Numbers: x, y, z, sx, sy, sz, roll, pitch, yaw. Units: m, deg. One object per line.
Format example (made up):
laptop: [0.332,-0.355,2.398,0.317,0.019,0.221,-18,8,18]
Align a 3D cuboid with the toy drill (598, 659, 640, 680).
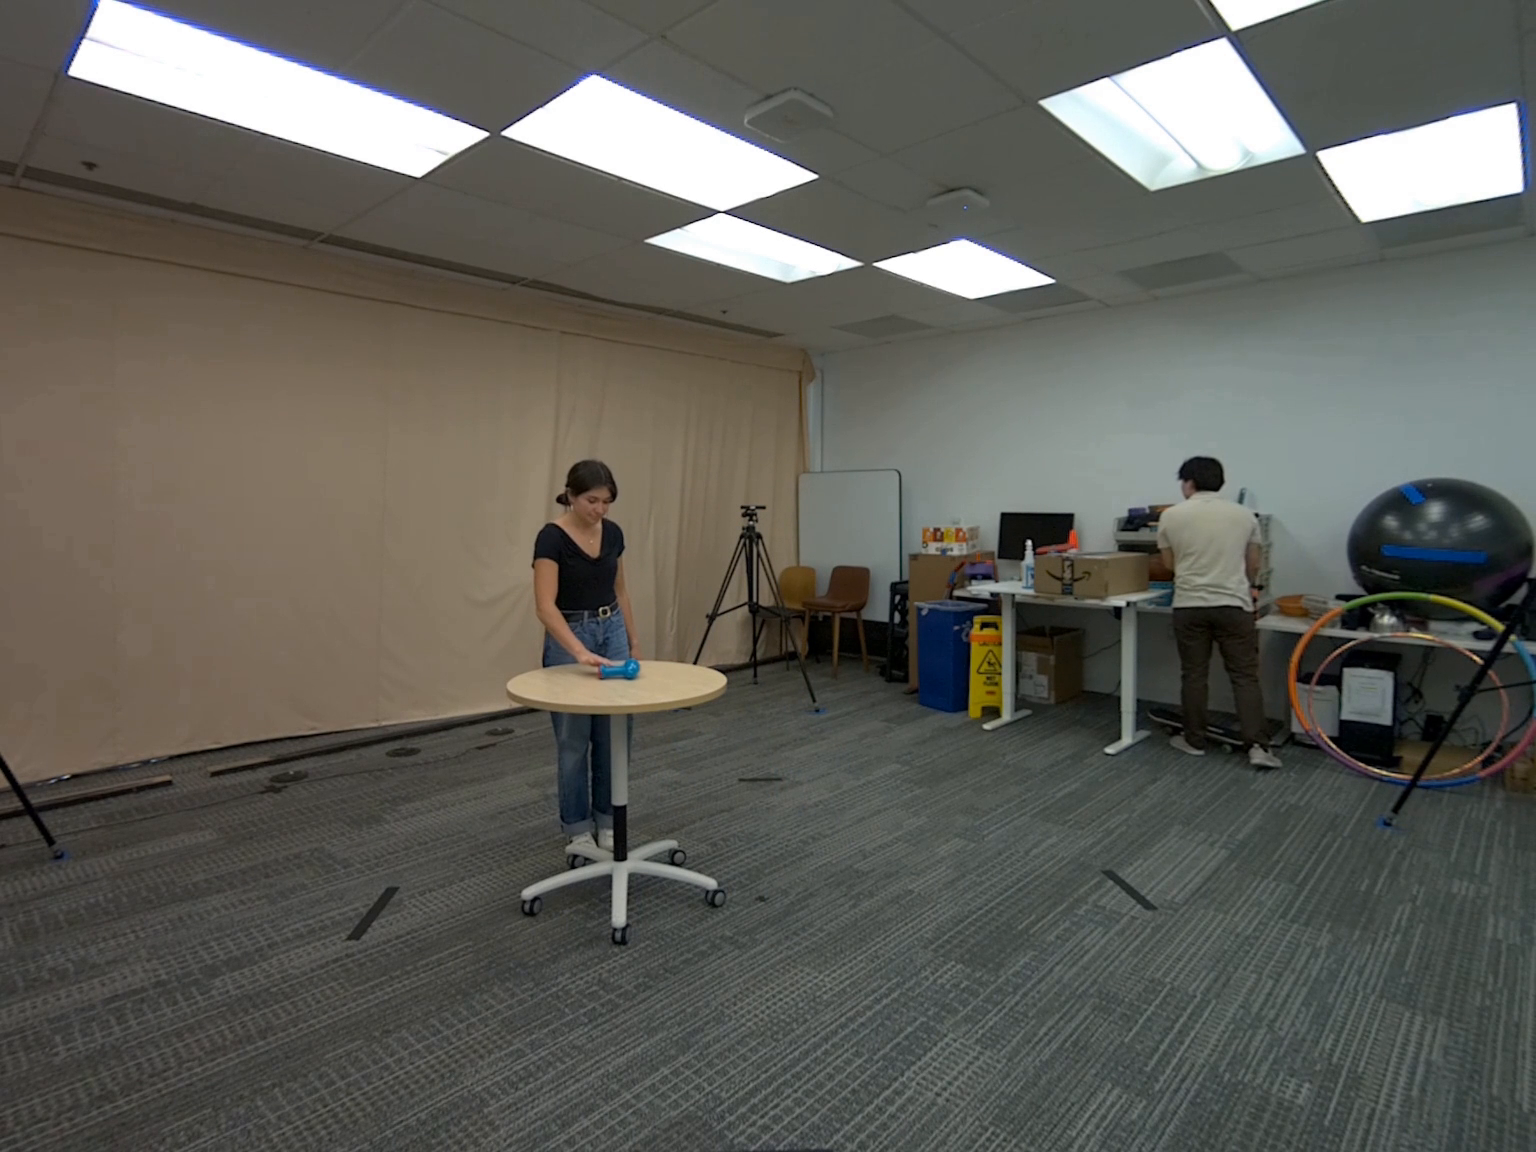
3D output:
toy drill: [-0.529,0.331,3.028,0.146,0.061,0.171,-2,12,-3]
